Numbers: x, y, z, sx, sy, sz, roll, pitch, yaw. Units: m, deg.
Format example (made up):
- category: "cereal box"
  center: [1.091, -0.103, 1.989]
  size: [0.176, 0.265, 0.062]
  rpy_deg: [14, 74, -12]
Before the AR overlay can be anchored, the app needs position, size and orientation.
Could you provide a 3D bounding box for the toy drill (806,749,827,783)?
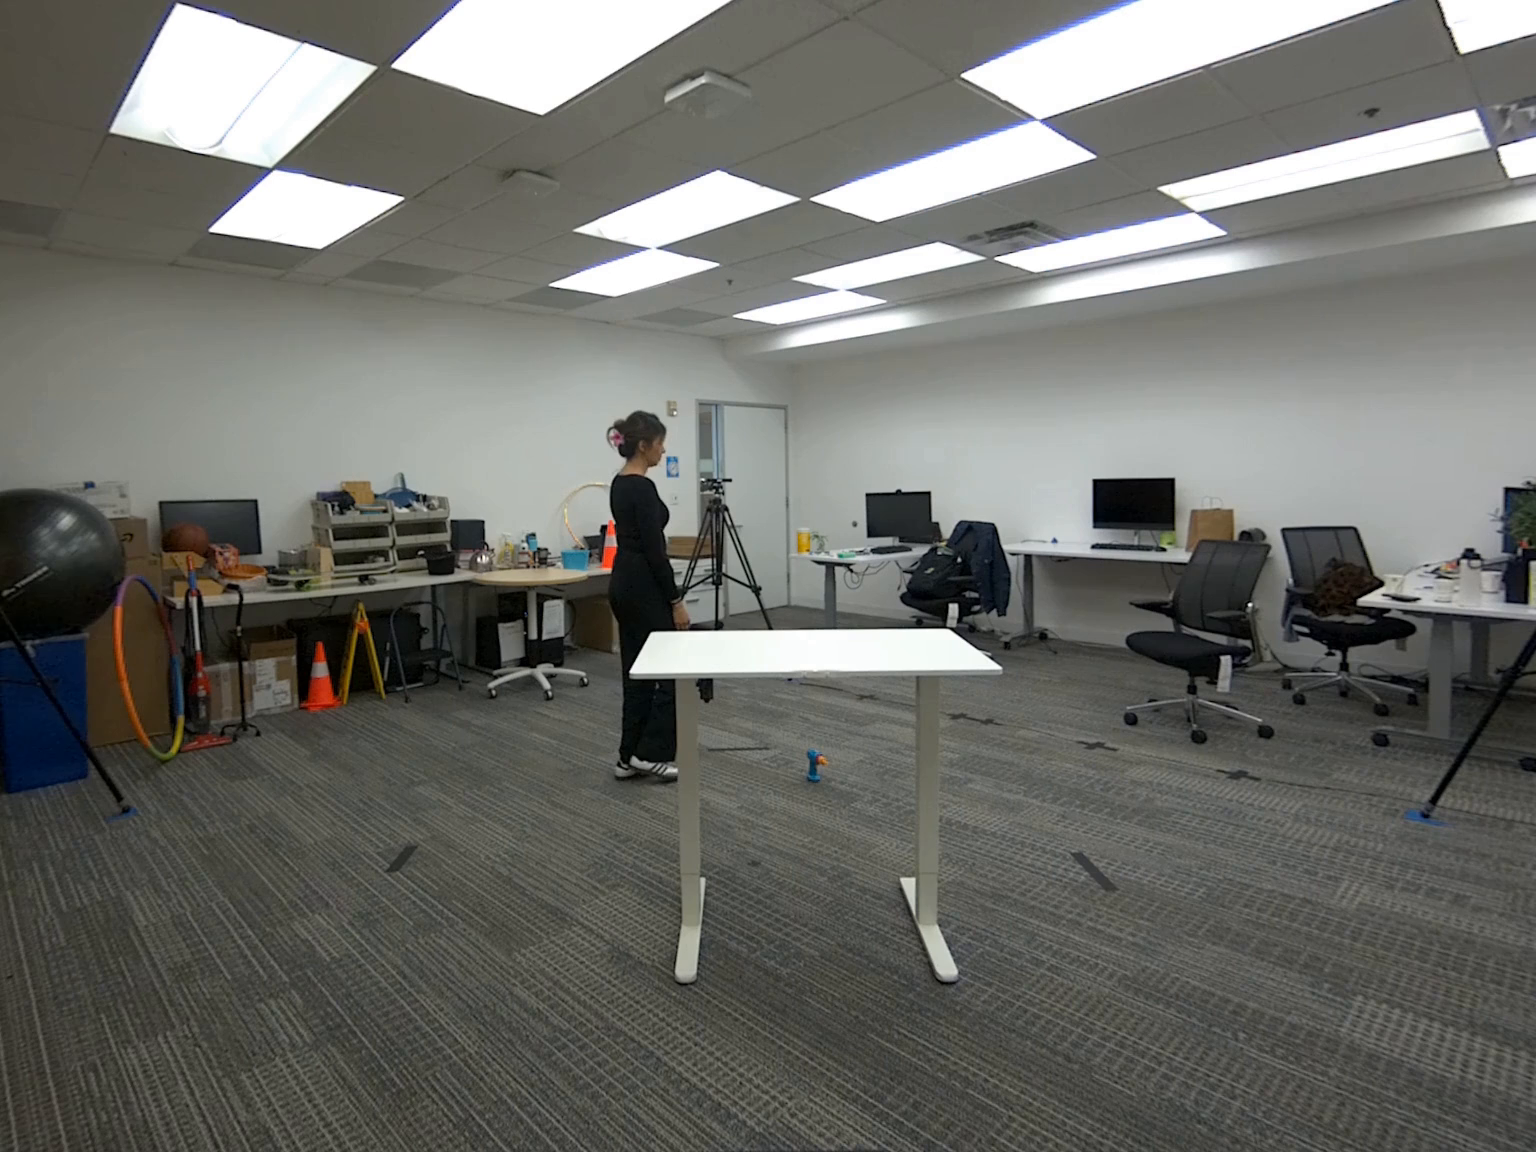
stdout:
- category: "toy drill"
  center: [0.228, 0.874, 3.926]
  size: [0.060, 0.146, 0.174]
  rpy_deg: [0, 4, -26]
